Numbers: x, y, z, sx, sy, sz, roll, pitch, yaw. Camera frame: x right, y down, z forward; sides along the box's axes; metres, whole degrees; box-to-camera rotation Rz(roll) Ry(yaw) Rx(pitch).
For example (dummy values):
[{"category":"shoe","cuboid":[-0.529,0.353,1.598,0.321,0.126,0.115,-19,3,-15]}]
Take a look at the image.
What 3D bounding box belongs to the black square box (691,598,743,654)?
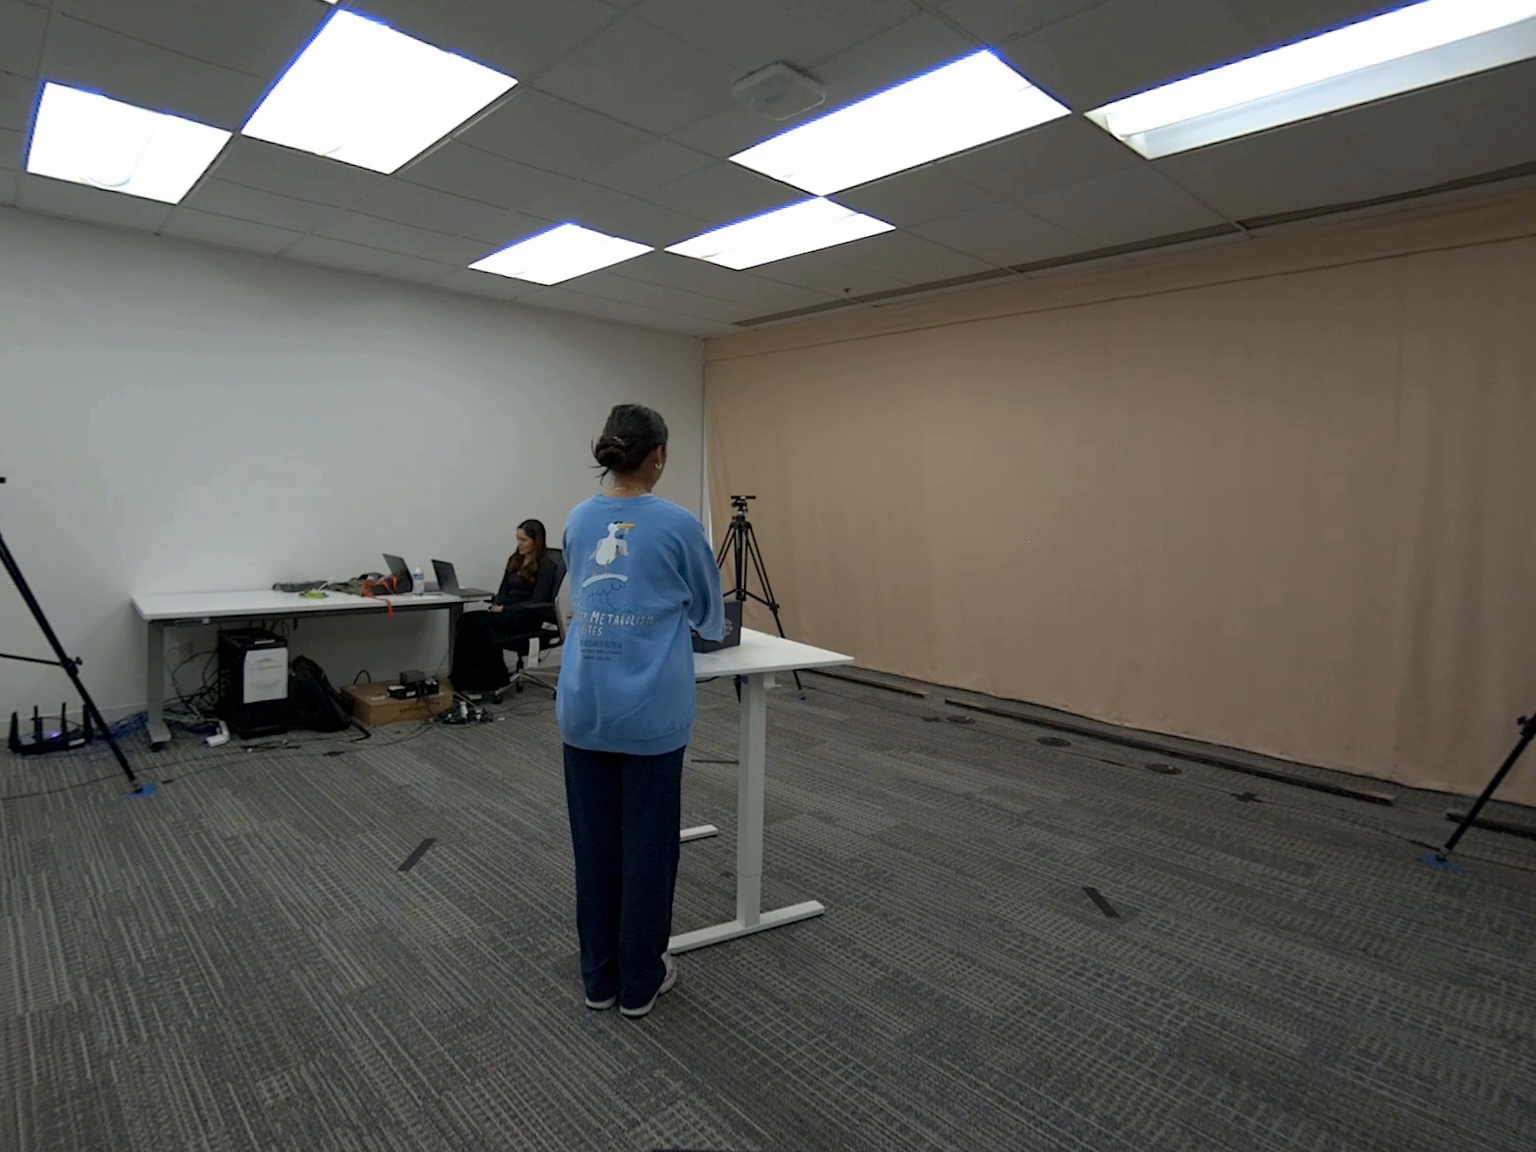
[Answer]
[{"category":"black square box","cuboid":[-0.246,0.163,2.864,0.222,0.155,0.223,4,5,32]}]
